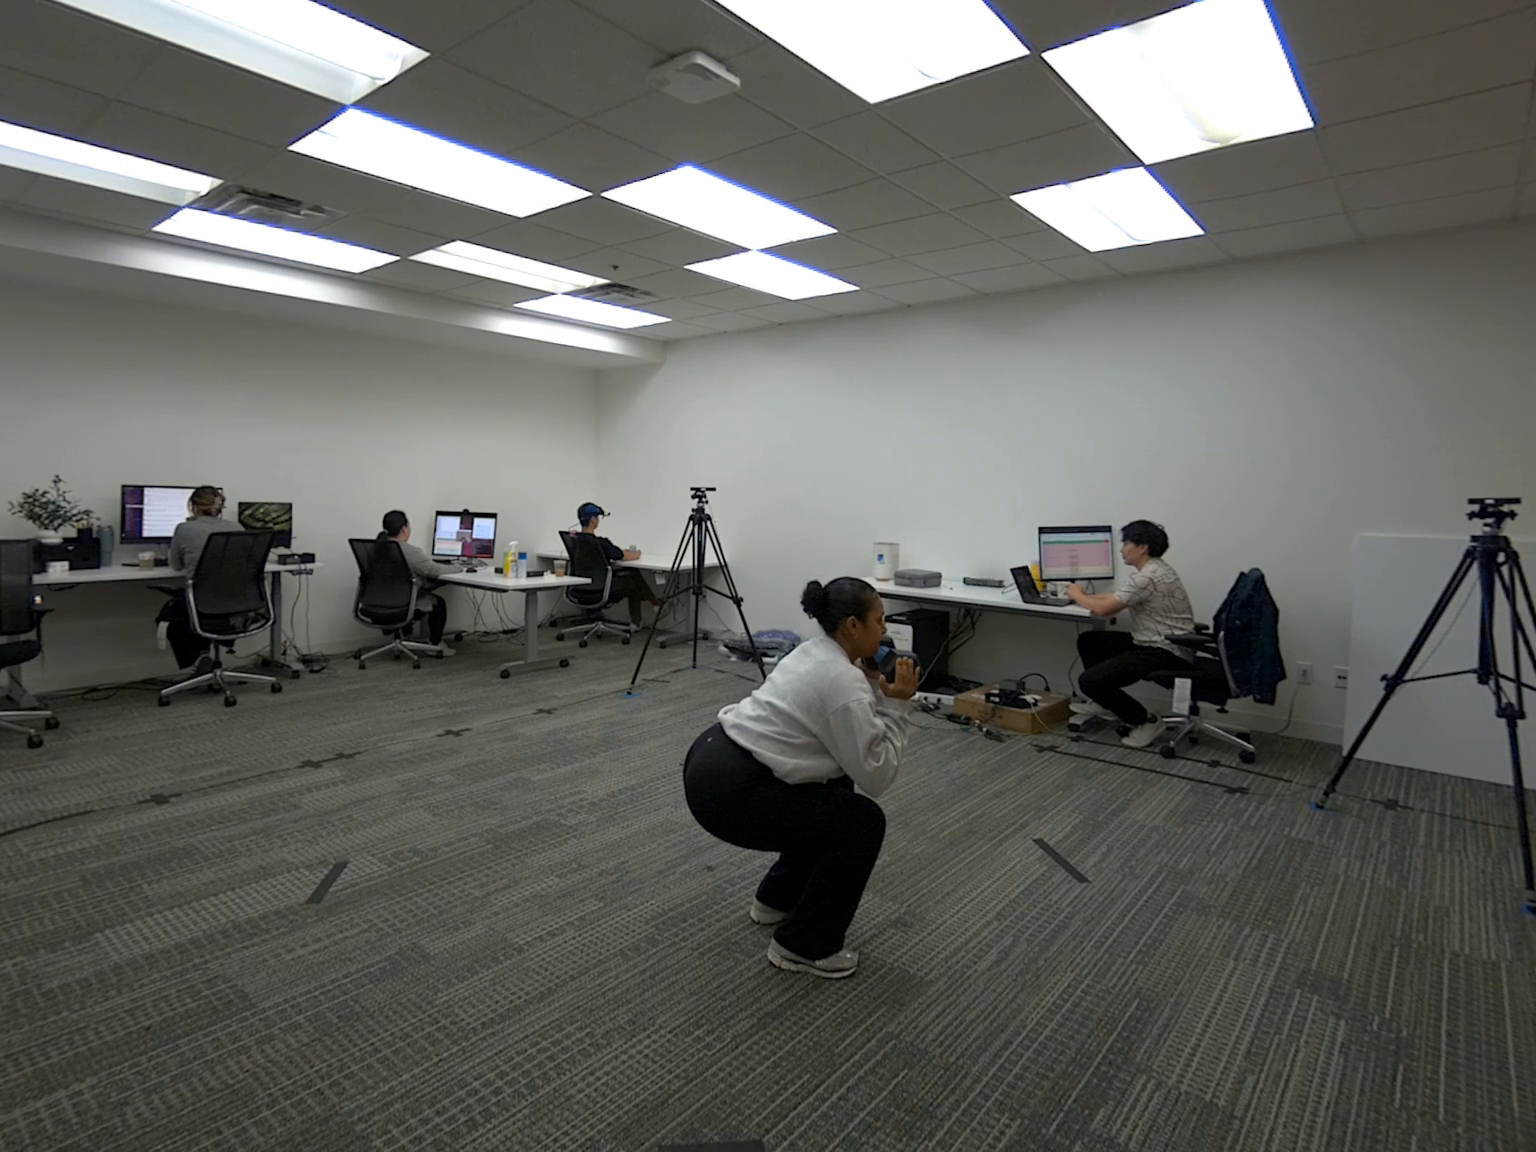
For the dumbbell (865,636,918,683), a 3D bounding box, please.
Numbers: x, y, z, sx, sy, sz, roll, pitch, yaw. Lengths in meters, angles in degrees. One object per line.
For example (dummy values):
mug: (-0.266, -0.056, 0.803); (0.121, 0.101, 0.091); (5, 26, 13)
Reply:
dumbbell: (0.353, 0.234, 2.586); (0.108, 0.121, 0.300); (-29, 15, -7)
